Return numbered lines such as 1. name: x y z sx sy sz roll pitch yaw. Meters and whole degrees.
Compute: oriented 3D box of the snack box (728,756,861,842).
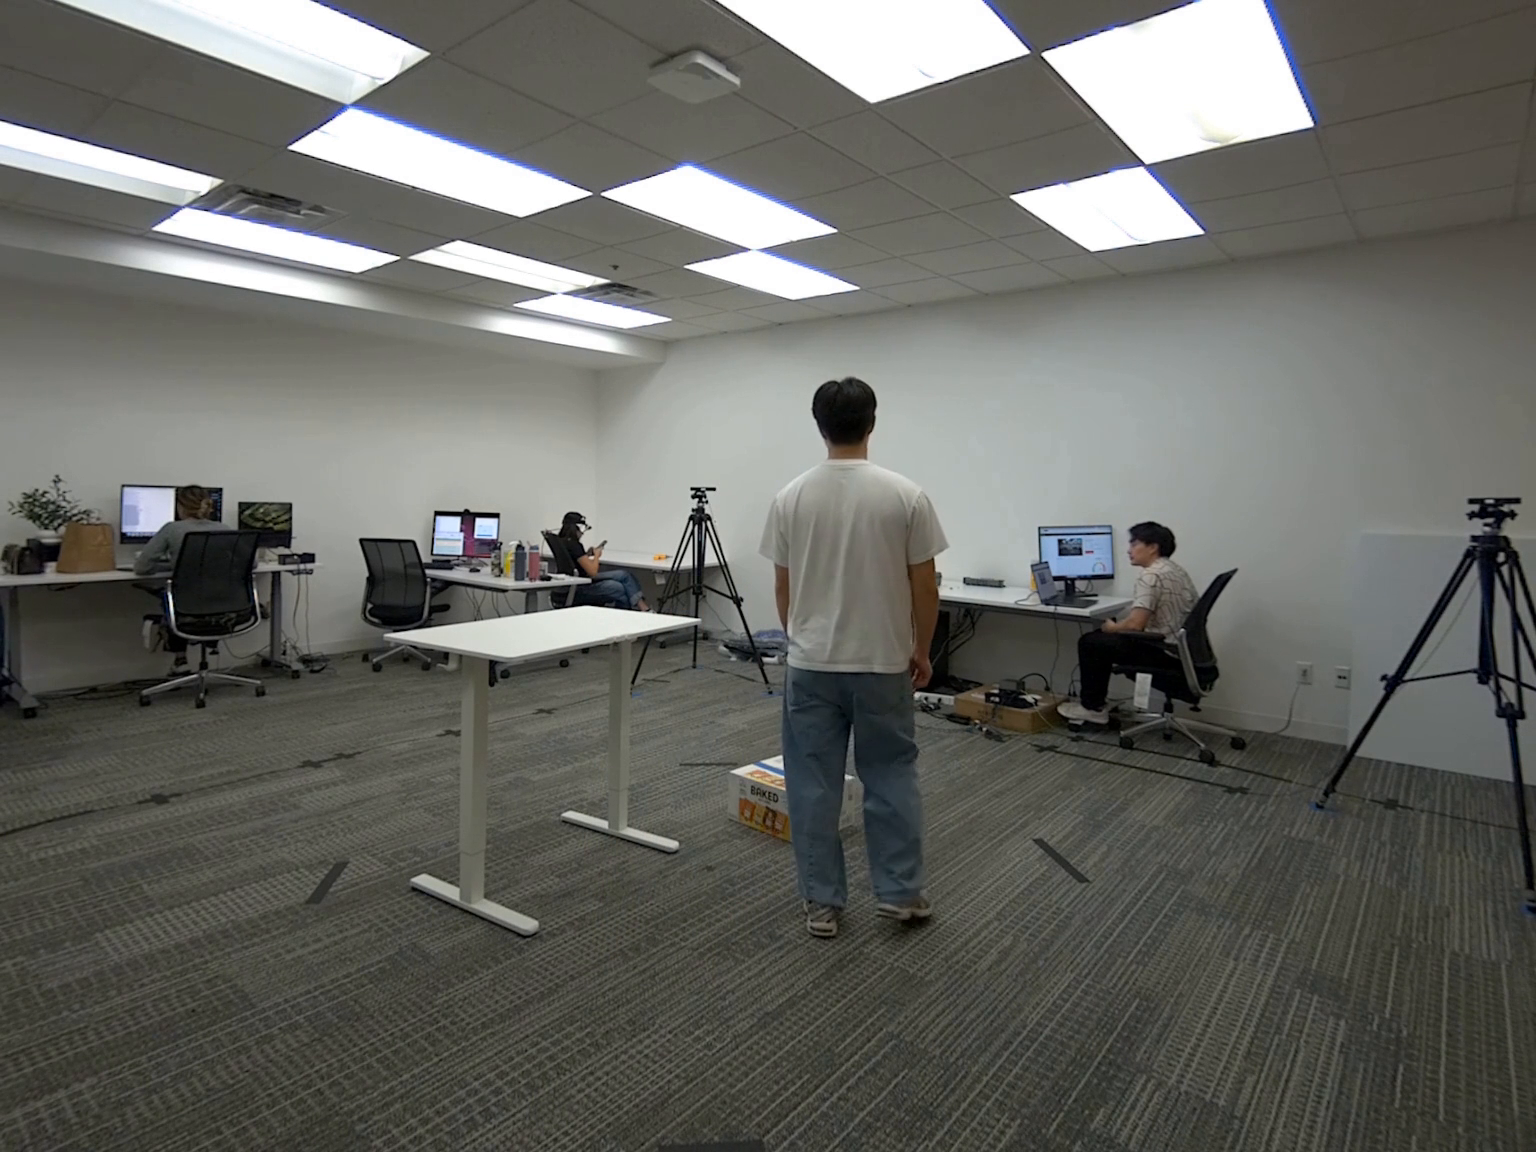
1. snack box: 0.086 0.926 3.556 0.419 0.205 0.330 6 7 42
